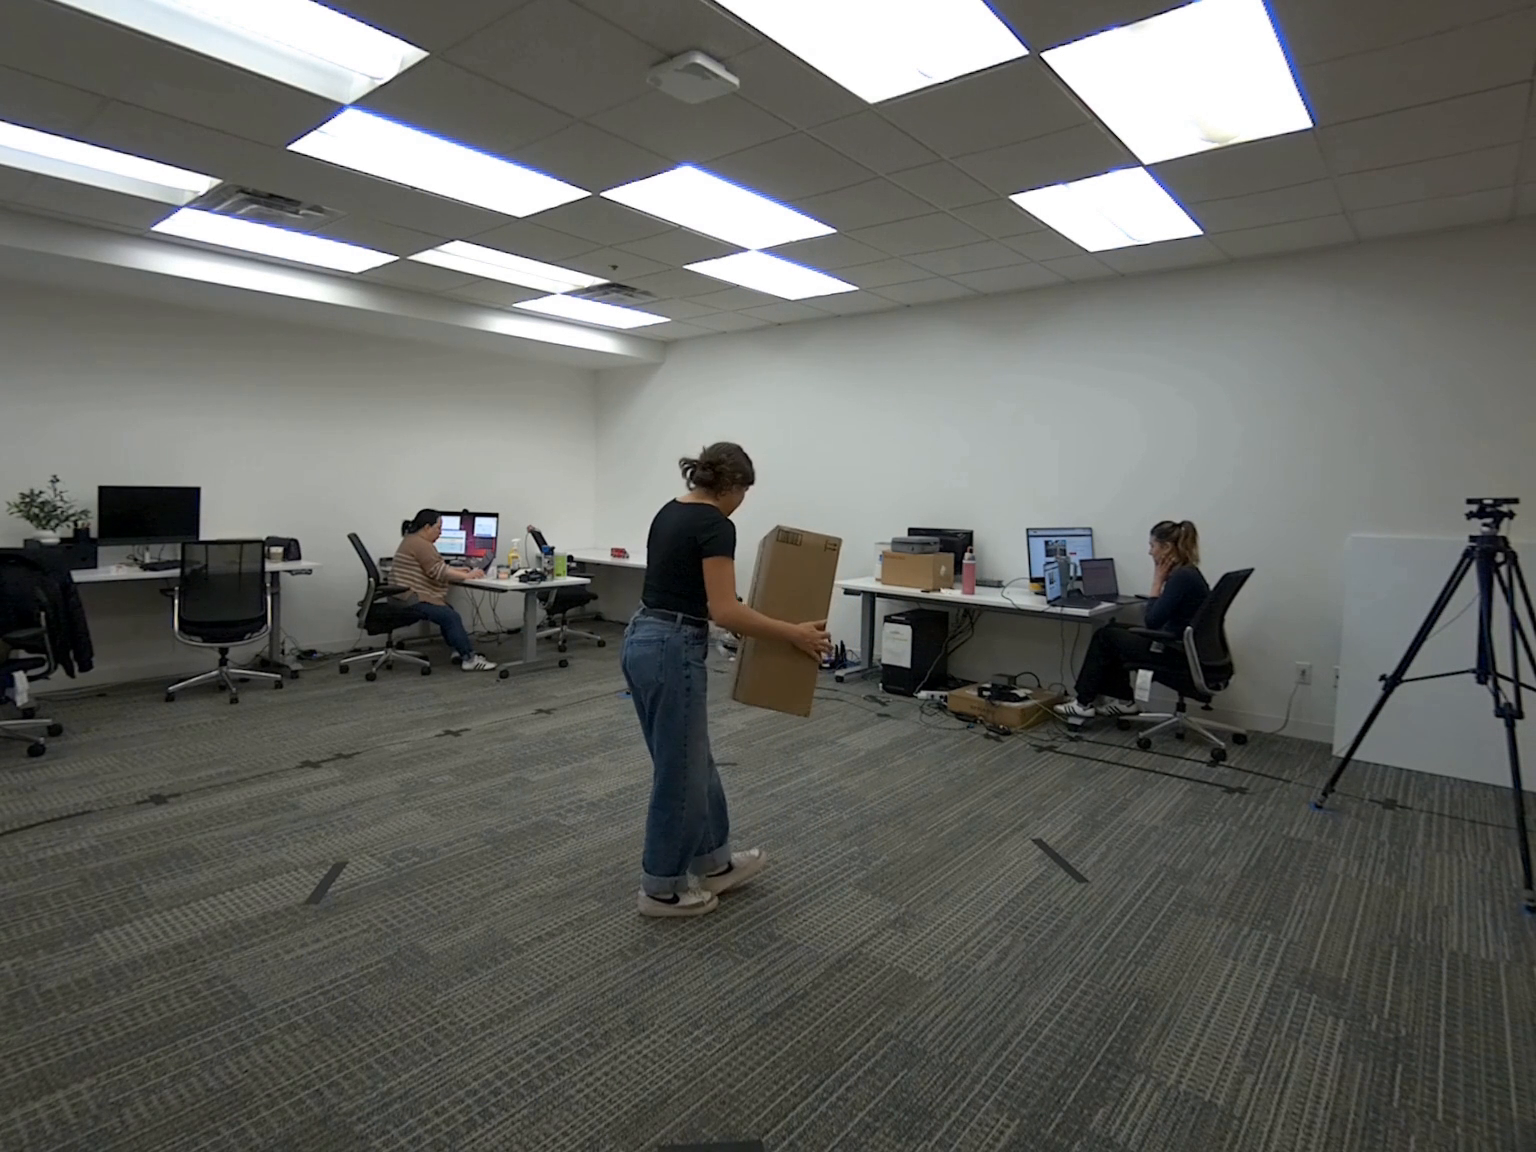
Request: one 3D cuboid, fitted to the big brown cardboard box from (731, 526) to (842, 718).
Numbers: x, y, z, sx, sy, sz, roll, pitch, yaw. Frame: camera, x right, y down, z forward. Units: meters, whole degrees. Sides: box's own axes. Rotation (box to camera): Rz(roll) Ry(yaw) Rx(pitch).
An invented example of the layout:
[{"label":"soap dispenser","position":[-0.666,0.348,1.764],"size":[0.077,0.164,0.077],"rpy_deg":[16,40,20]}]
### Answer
[{"label":"big brown cardboard box","position":[0.048,0.147,2.842],"size":[0.232,0.592,0.417],"rpy_deg":[13,-7,-4]}]
